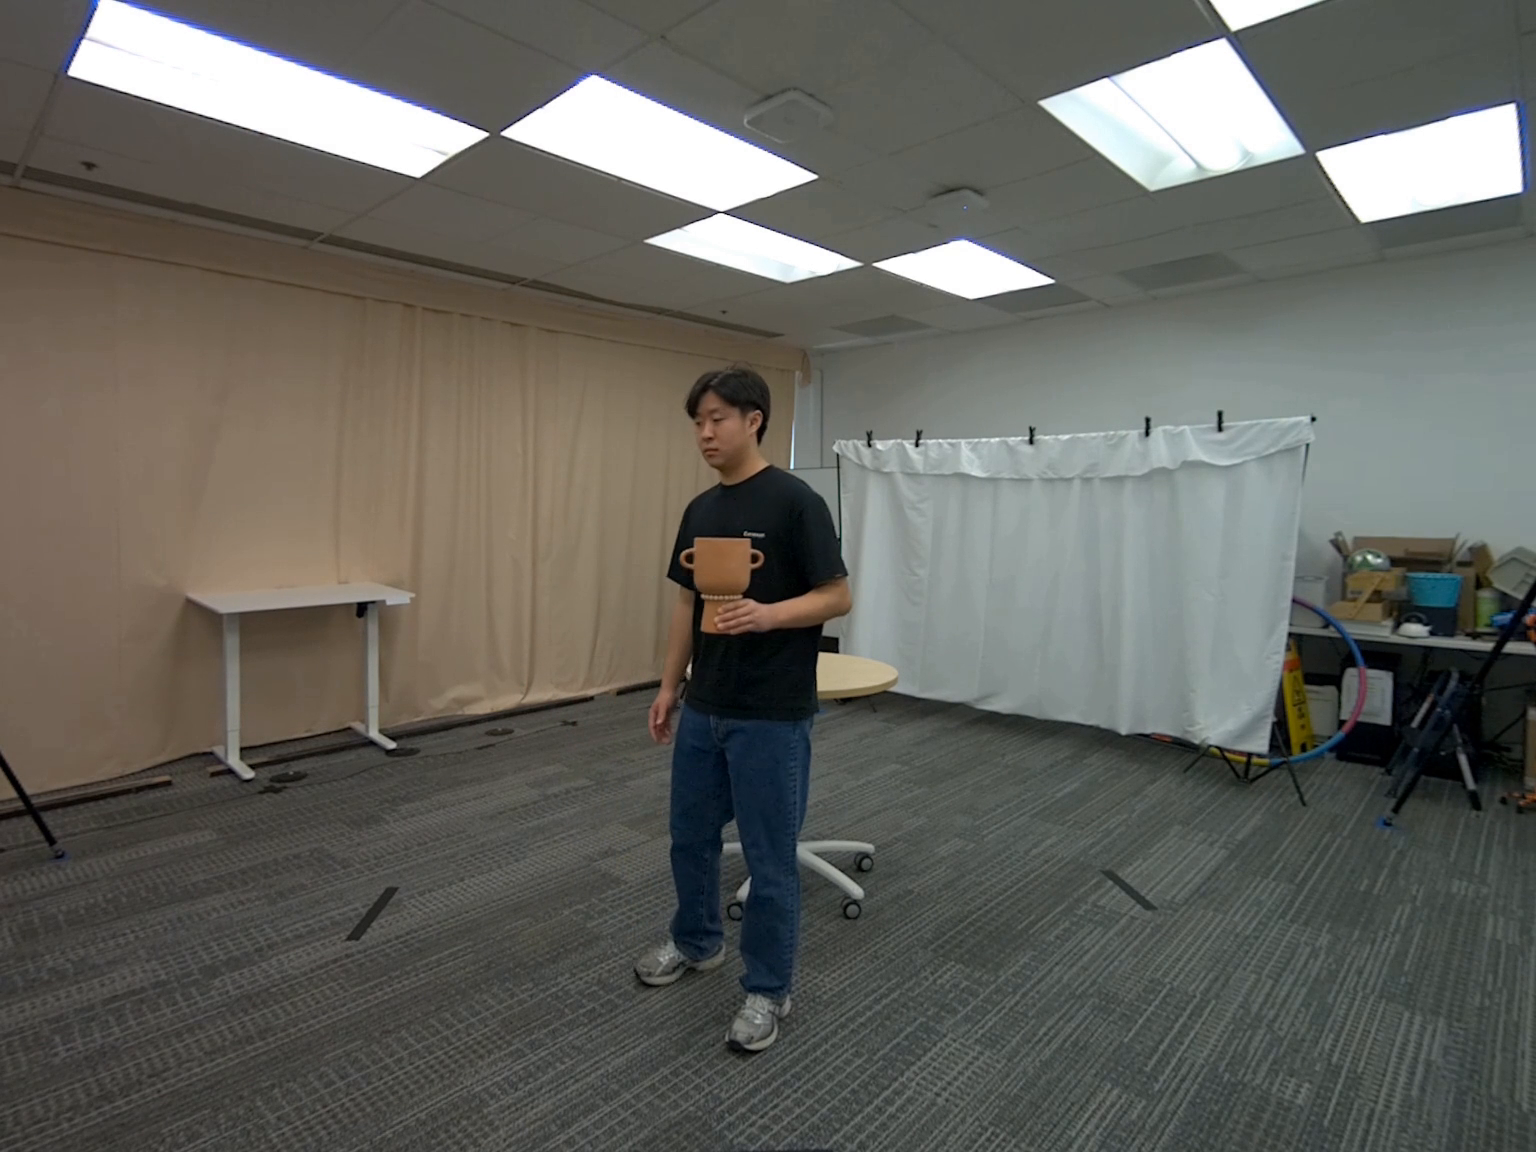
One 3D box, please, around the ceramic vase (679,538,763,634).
[{"bbox_3d":[-0.108,0.020,2.007,0.163,0.219,0.131,0,2,33],"label":"ceramic vase"}]
